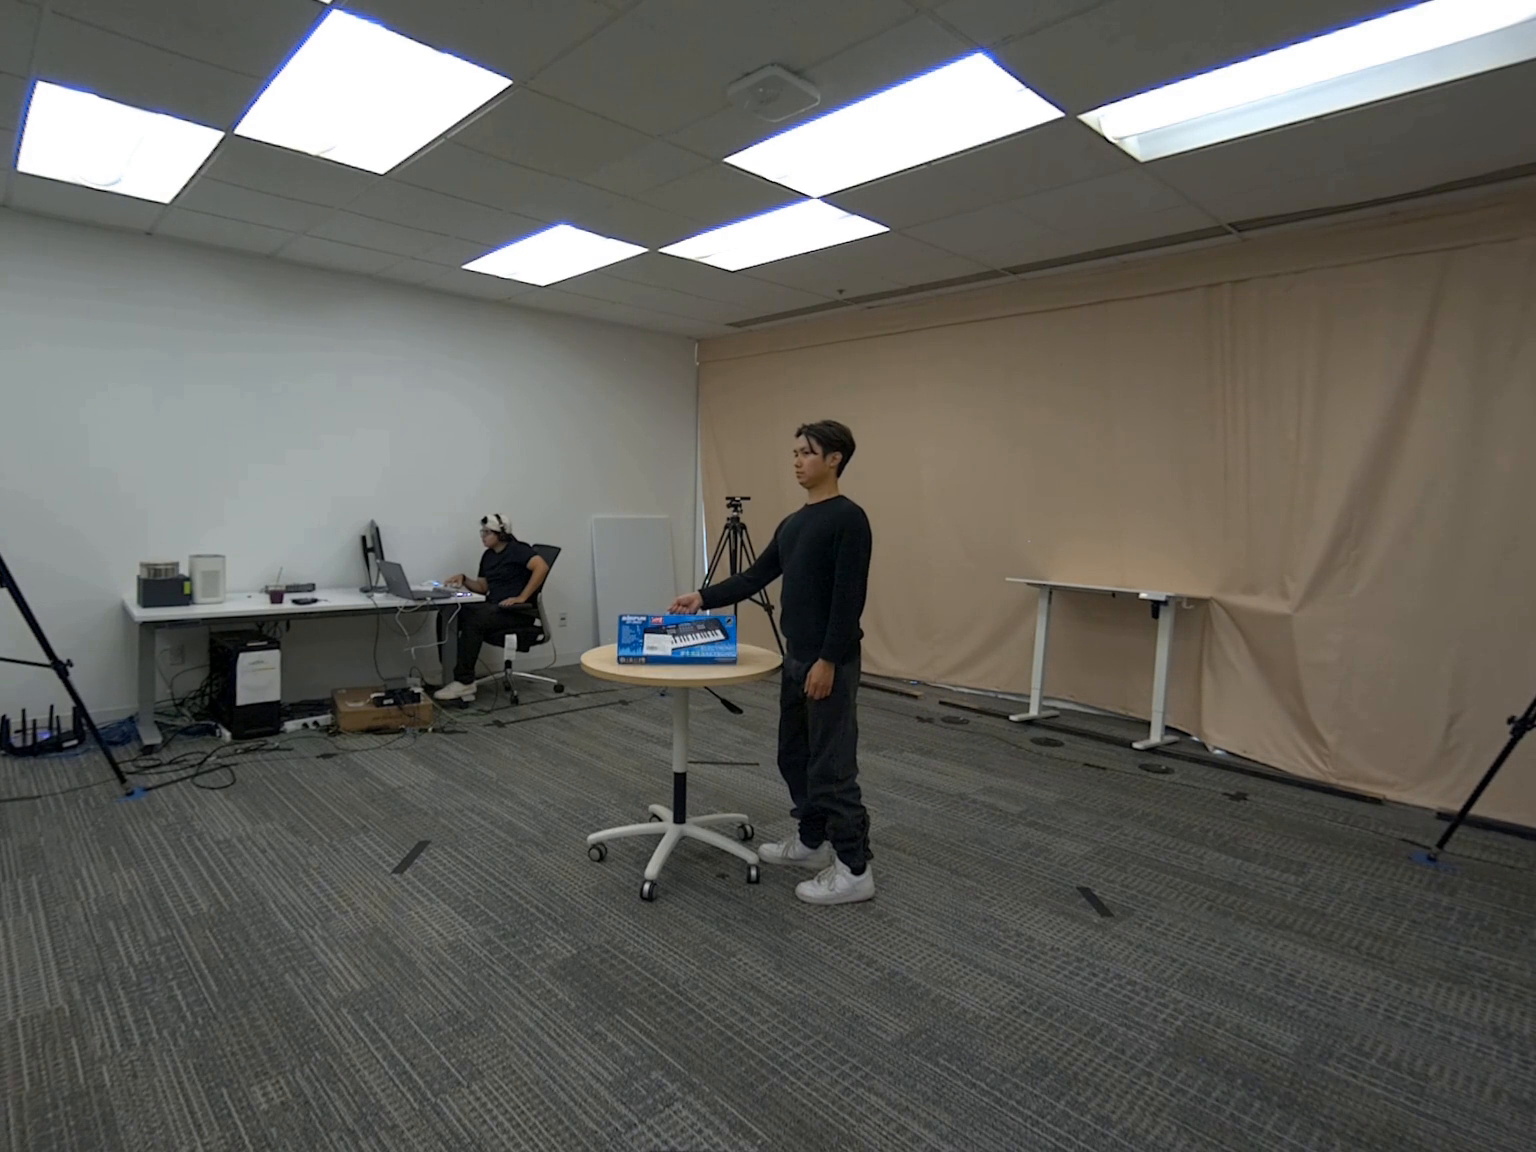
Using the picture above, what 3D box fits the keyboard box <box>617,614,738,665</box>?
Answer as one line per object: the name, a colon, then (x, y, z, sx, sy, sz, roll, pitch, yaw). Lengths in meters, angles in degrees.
keyboard box: (-0.338, 0.227, 3.118, 0.434, 0.180, 0.058, -2, -30, -7)
